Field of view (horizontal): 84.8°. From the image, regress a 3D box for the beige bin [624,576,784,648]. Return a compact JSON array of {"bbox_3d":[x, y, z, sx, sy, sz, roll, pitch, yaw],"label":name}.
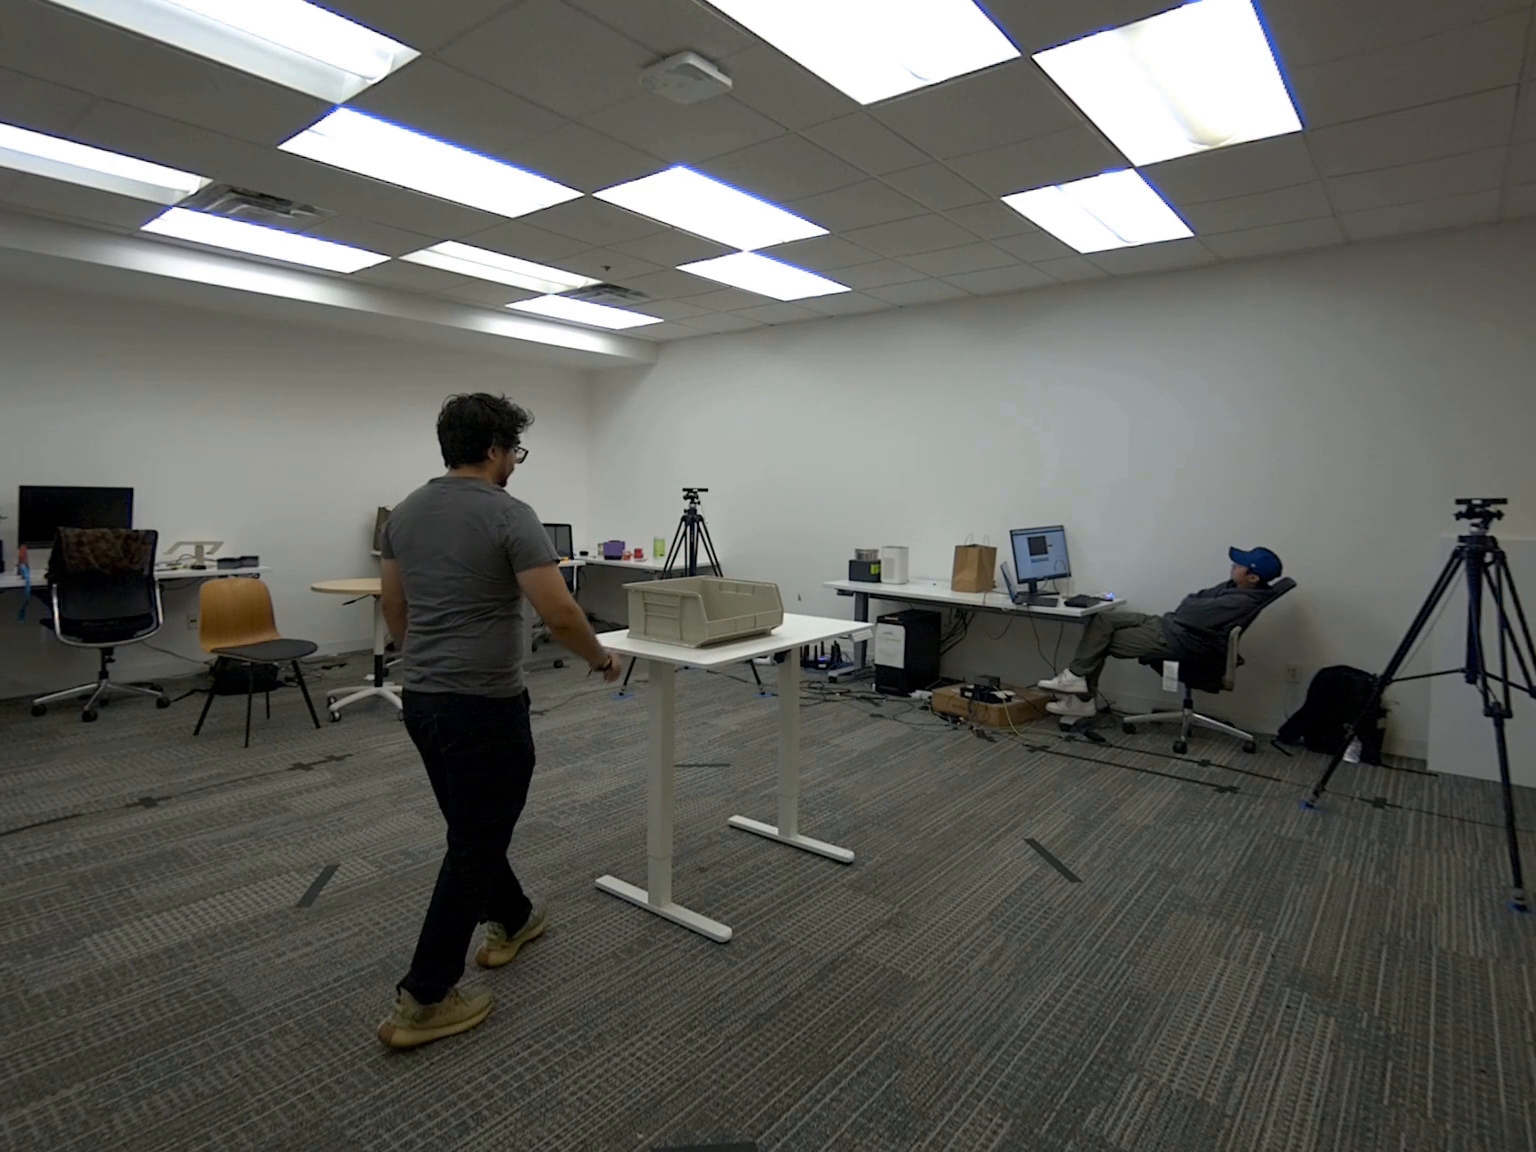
[{"bbox_3d":[-0.224,0.117,2.928,0.390,0.188,0.410,3,6,38],"label":"beige bin"}]
